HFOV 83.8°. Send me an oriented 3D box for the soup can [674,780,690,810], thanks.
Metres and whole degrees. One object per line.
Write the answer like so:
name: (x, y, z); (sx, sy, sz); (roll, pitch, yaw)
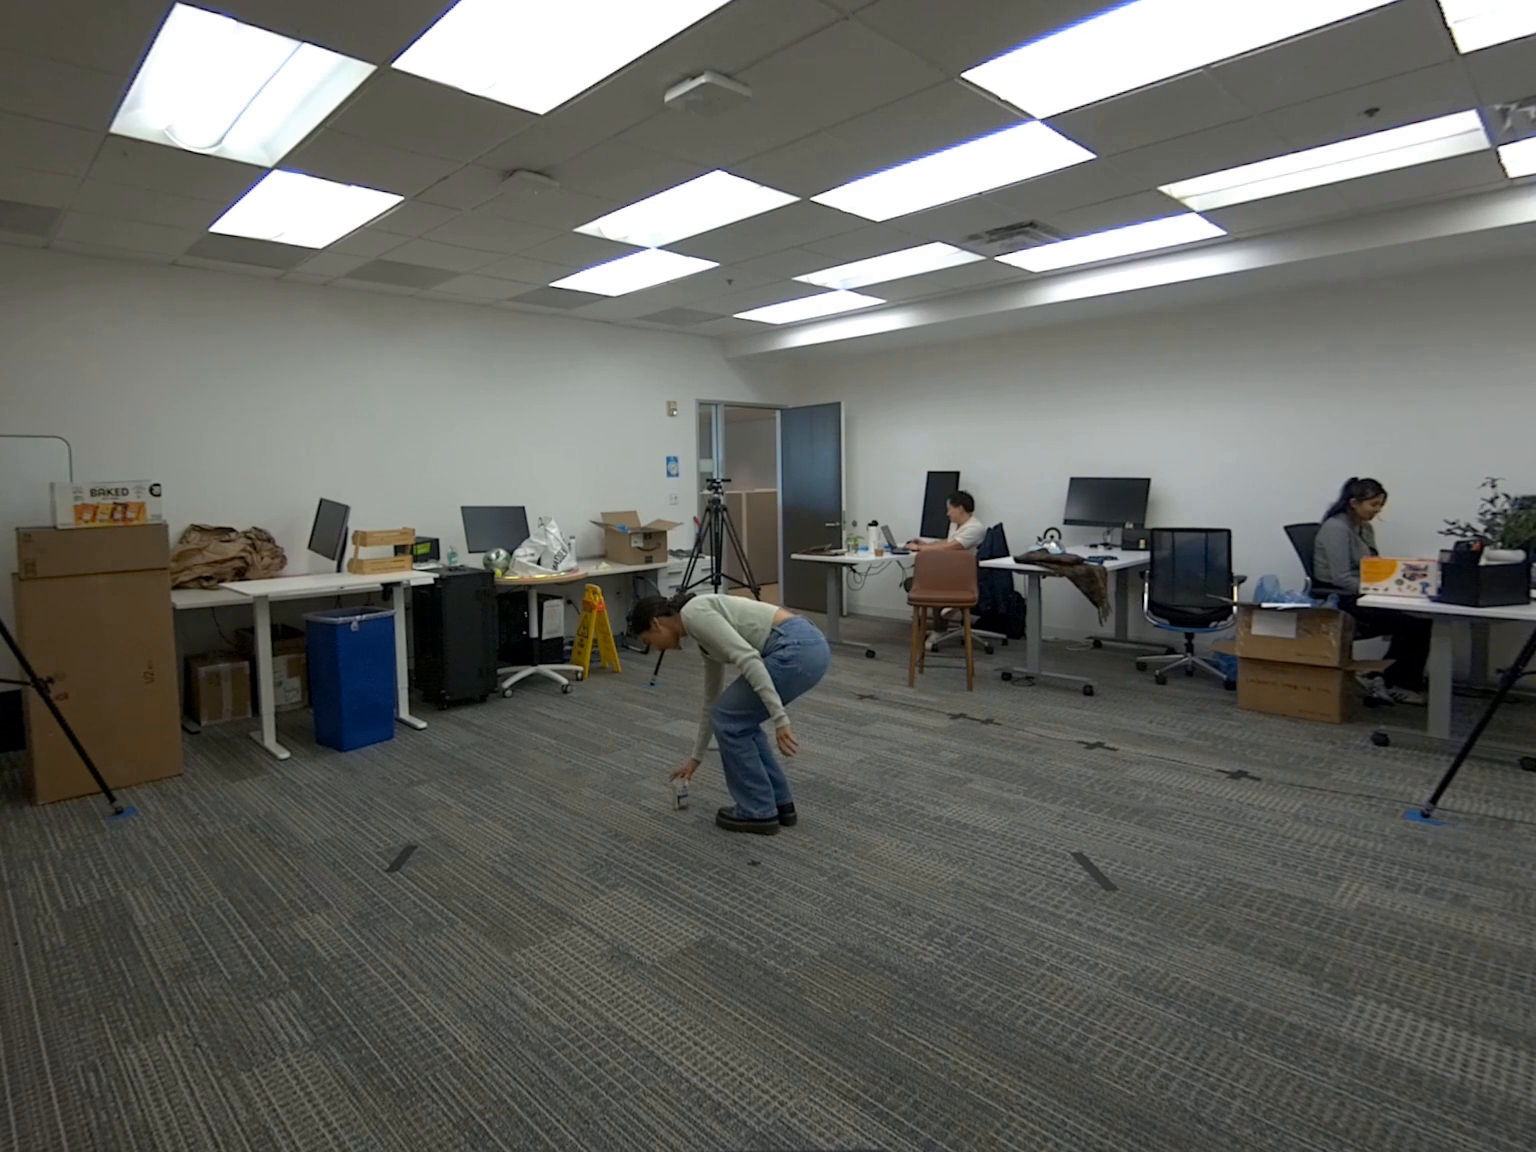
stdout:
soup can: (-0.375, 0.927, 3.643); (0.067, 0.121, 0.067); (-3, 3, -1)
